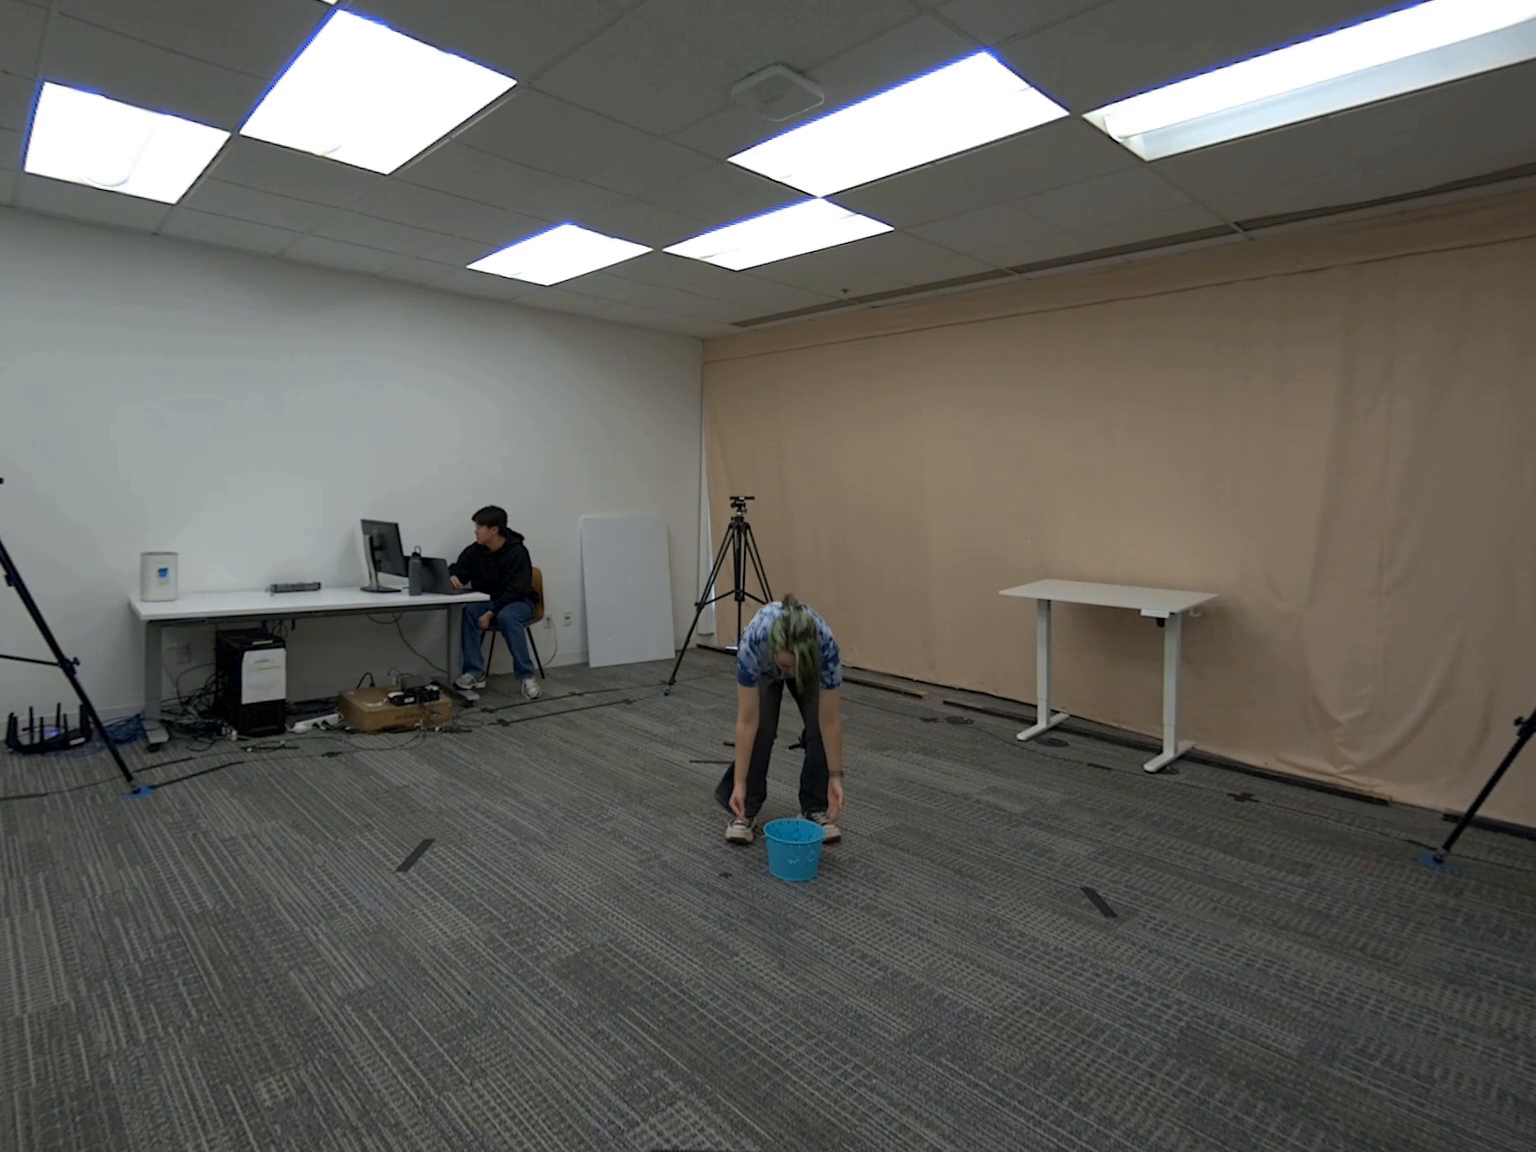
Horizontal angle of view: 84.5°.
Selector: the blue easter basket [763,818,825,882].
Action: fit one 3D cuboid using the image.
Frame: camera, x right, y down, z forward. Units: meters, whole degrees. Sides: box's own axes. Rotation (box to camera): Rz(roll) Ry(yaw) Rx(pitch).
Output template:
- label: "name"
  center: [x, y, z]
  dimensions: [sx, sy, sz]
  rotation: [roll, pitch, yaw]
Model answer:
- label: "blue easter basket"
  center: [0.095, 1.029, 3.154]
  dimensions: [0.243, 0.155, 0.244]
  rotation: [1, 4, -1]
